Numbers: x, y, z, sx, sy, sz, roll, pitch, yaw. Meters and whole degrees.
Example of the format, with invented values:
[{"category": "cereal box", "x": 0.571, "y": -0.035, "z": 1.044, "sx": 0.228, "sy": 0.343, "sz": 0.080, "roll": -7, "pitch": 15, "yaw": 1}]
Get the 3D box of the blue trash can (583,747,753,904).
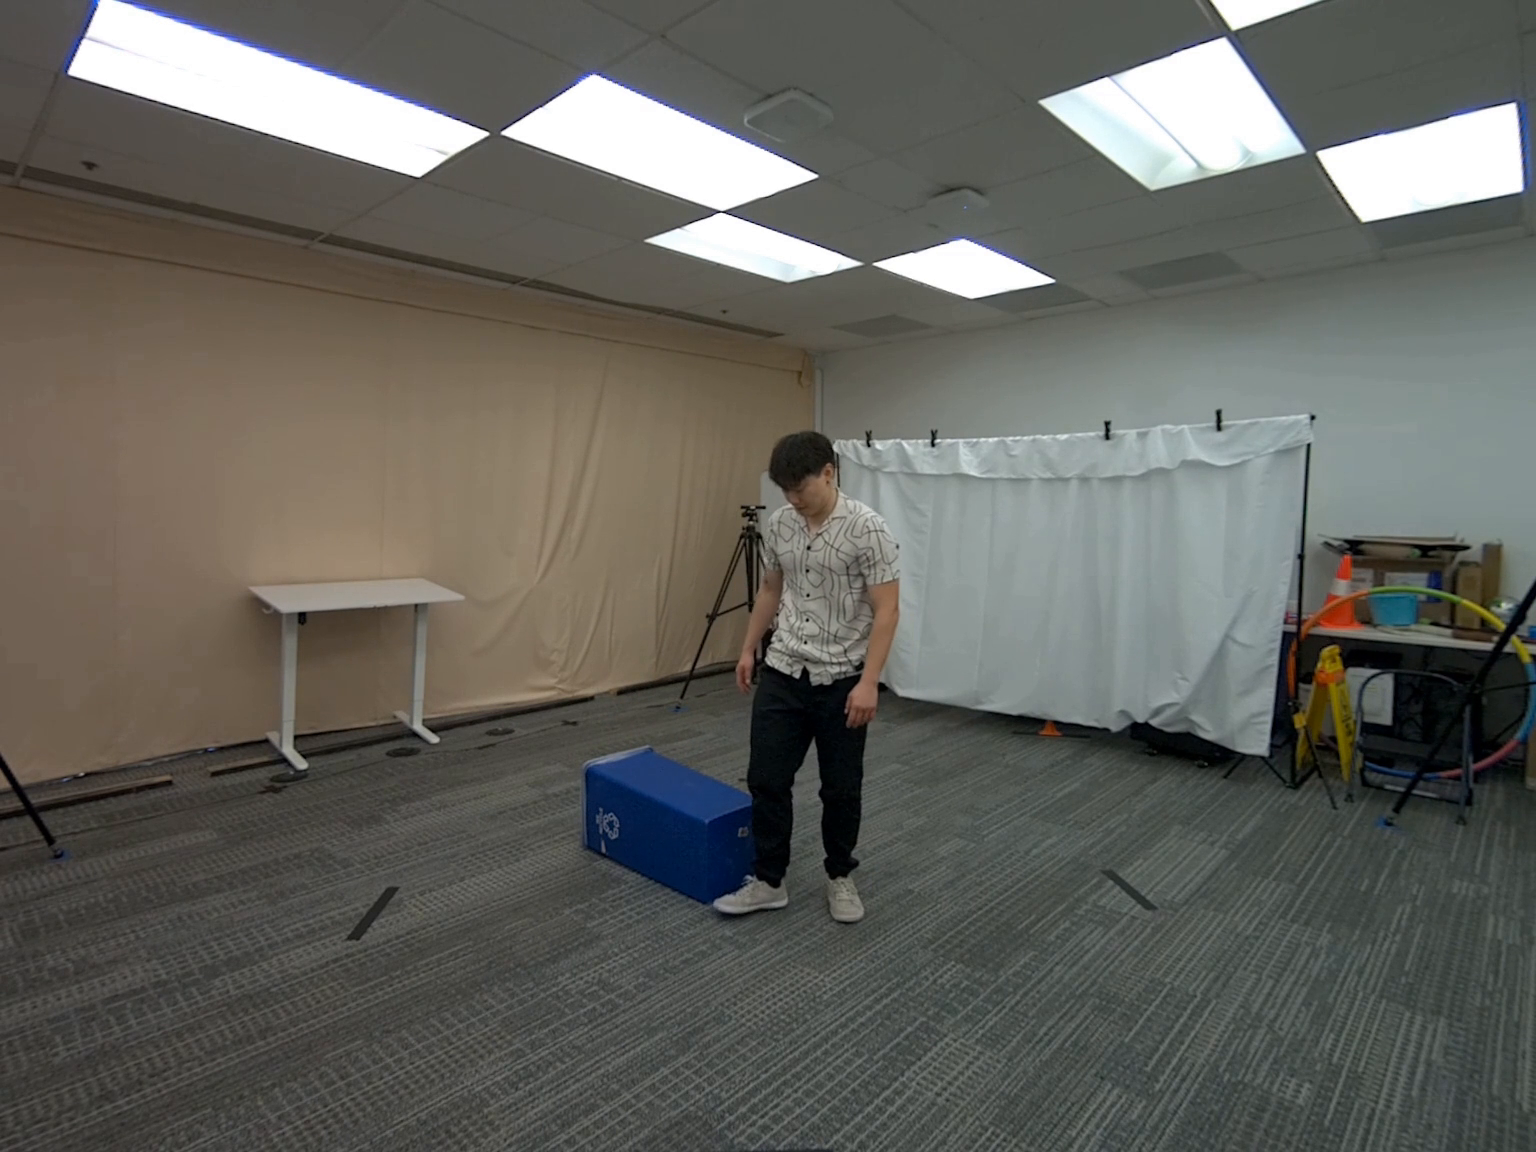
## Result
[{"category": "blue trash can", "x": -0.368, "y": 0.949, "z": 3.270, "sx": 0.362, "sy": 0.377, "sz": 0.738, "roll": -3, "pitch": 7, "yaw": -45}]
